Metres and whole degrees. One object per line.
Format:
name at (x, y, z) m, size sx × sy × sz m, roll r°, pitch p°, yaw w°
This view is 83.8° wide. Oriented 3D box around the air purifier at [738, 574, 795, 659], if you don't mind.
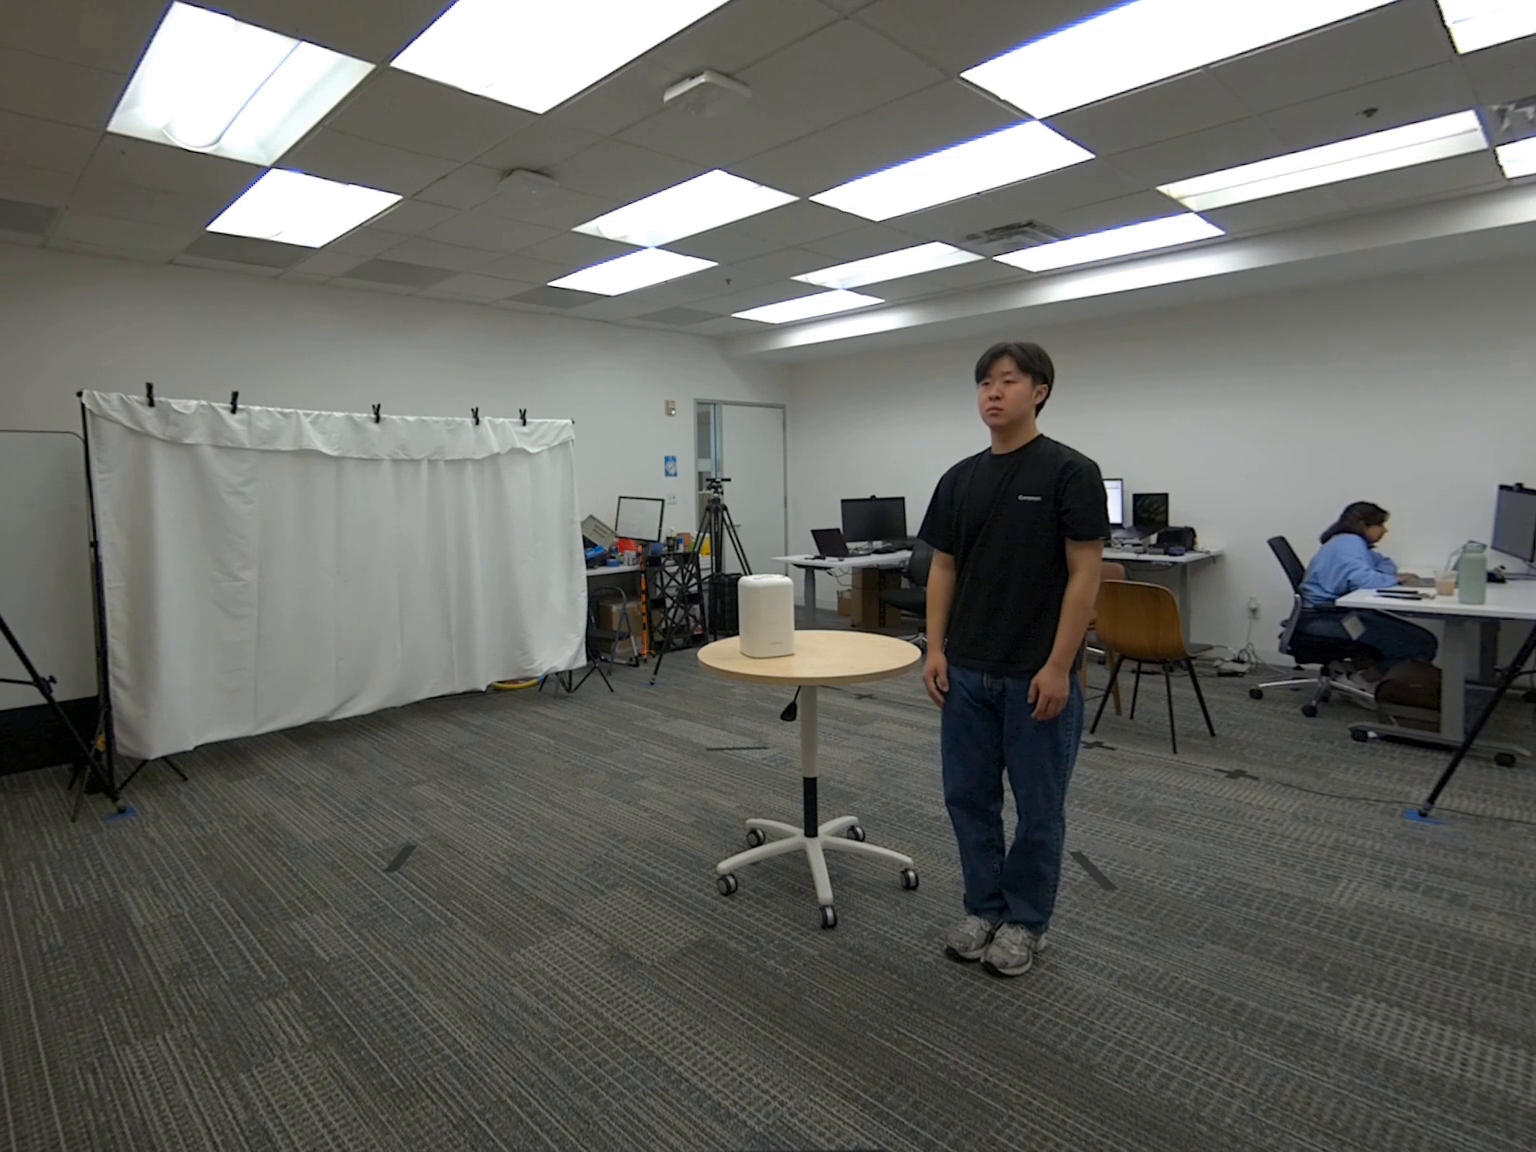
air purifier at (0.000, 0.133, 2.939) m, size 0.168 × 0.264 × 0.175 m, roll -3°, pitch 5°, yaw -17°
